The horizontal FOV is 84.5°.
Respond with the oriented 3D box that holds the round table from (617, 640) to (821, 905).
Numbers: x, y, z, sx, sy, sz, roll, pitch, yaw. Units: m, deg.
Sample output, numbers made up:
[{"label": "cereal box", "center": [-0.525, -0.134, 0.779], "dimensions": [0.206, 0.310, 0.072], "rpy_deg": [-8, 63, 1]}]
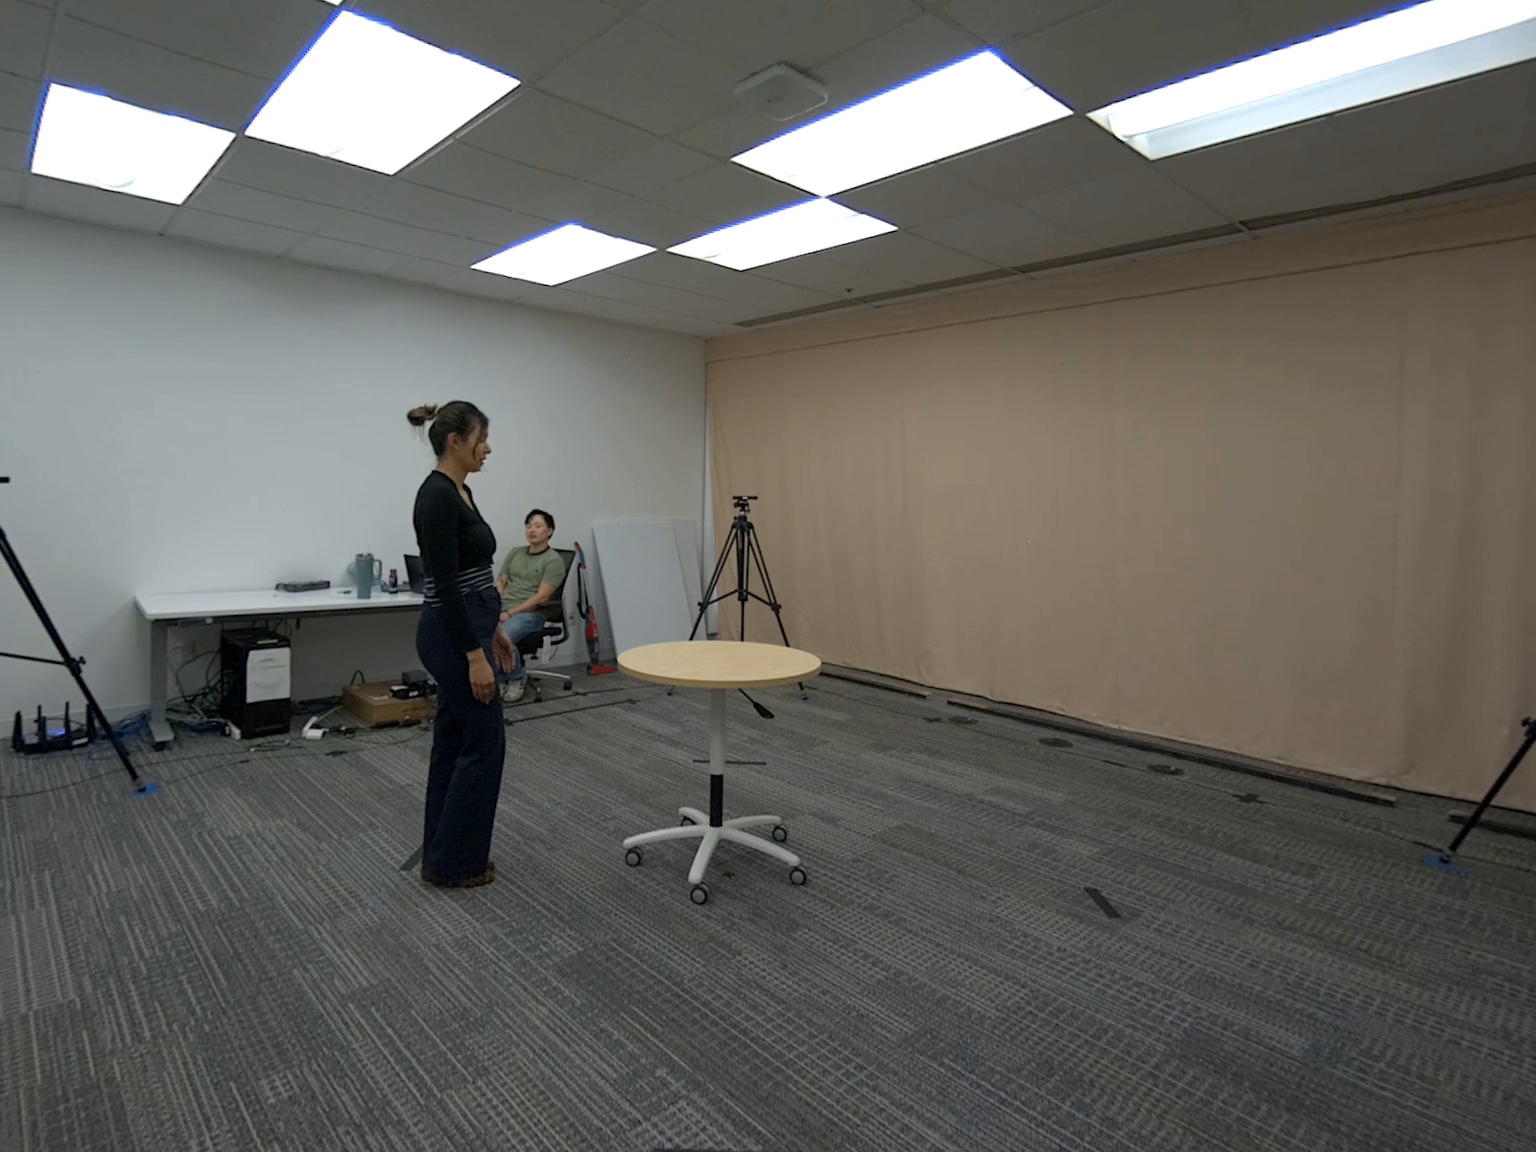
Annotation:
[{"label": "round table", "center": [-0.198, 0.707, 3.196], "dimensions": [0.763, 0.792, 0.766], "rpy_deg": [1, 4, -1]}]
